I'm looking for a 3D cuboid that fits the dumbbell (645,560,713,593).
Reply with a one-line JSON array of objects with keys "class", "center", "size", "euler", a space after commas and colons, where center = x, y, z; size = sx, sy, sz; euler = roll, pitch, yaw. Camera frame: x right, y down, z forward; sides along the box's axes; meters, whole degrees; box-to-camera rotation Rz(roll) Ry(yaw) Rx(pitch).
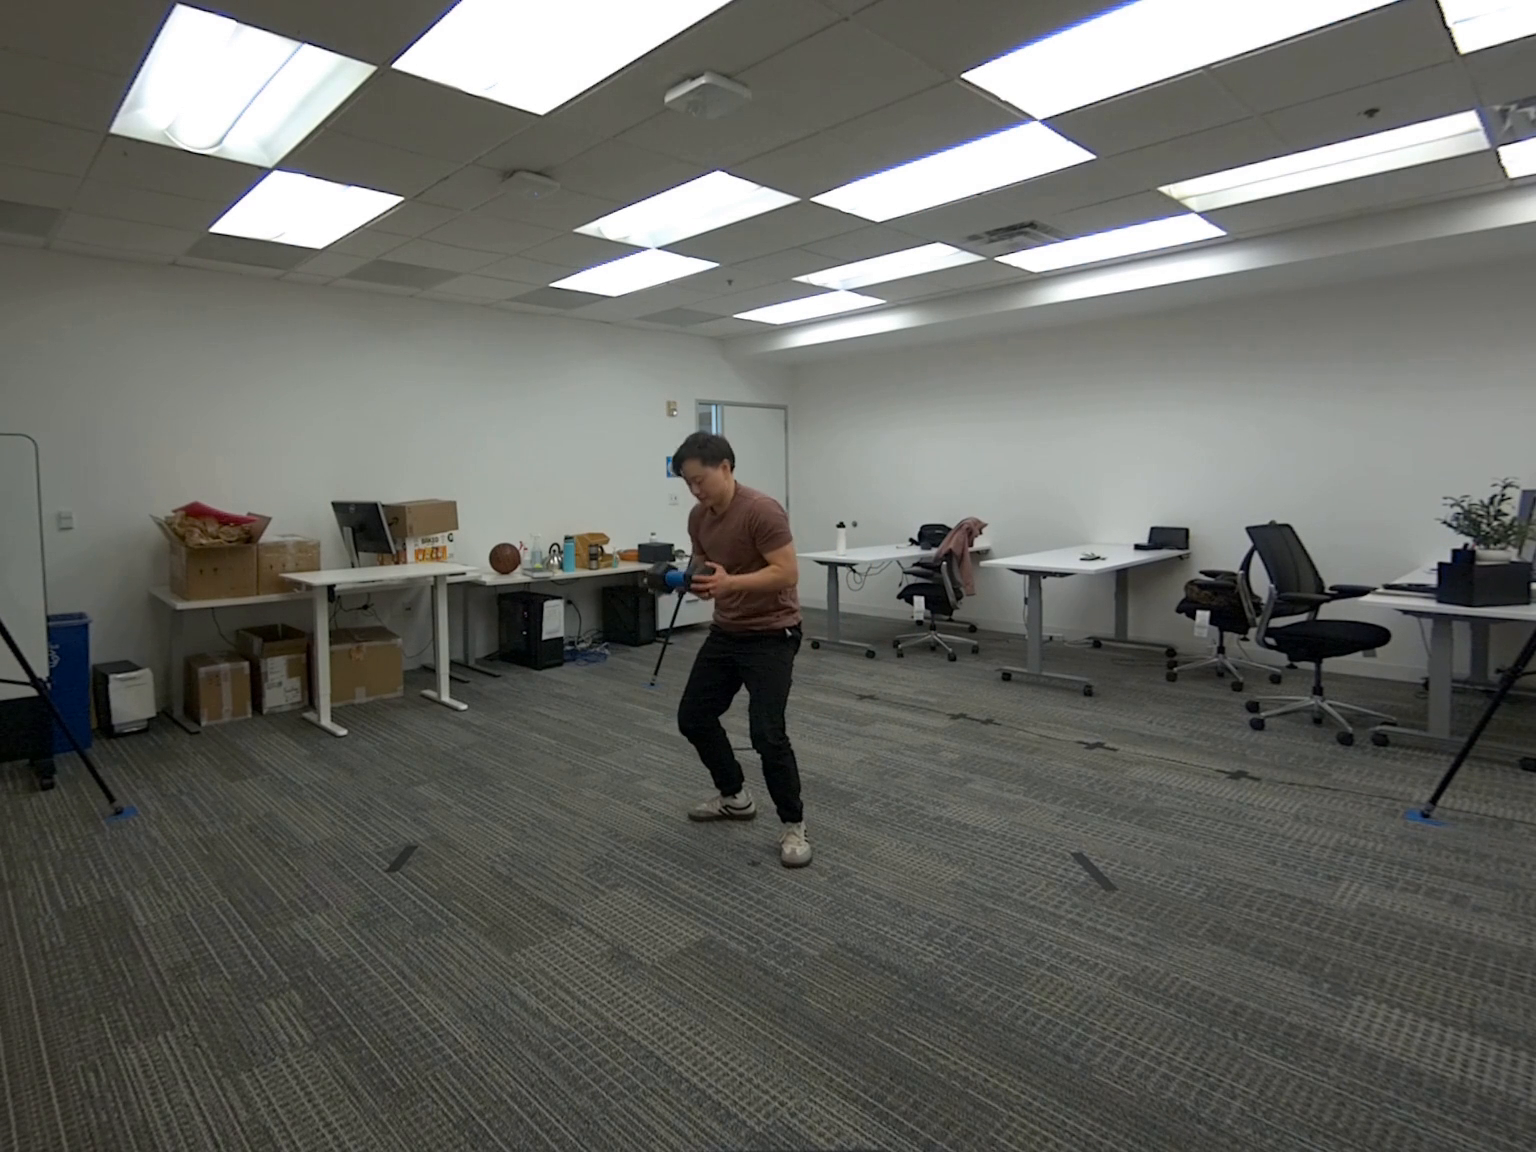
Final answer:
[{"class": "dumbbell", "center": [-0.315, 0.023, 3.141], "size": [0.302, 0.105, 0.123], "euler": [2, 42, 44]}]
